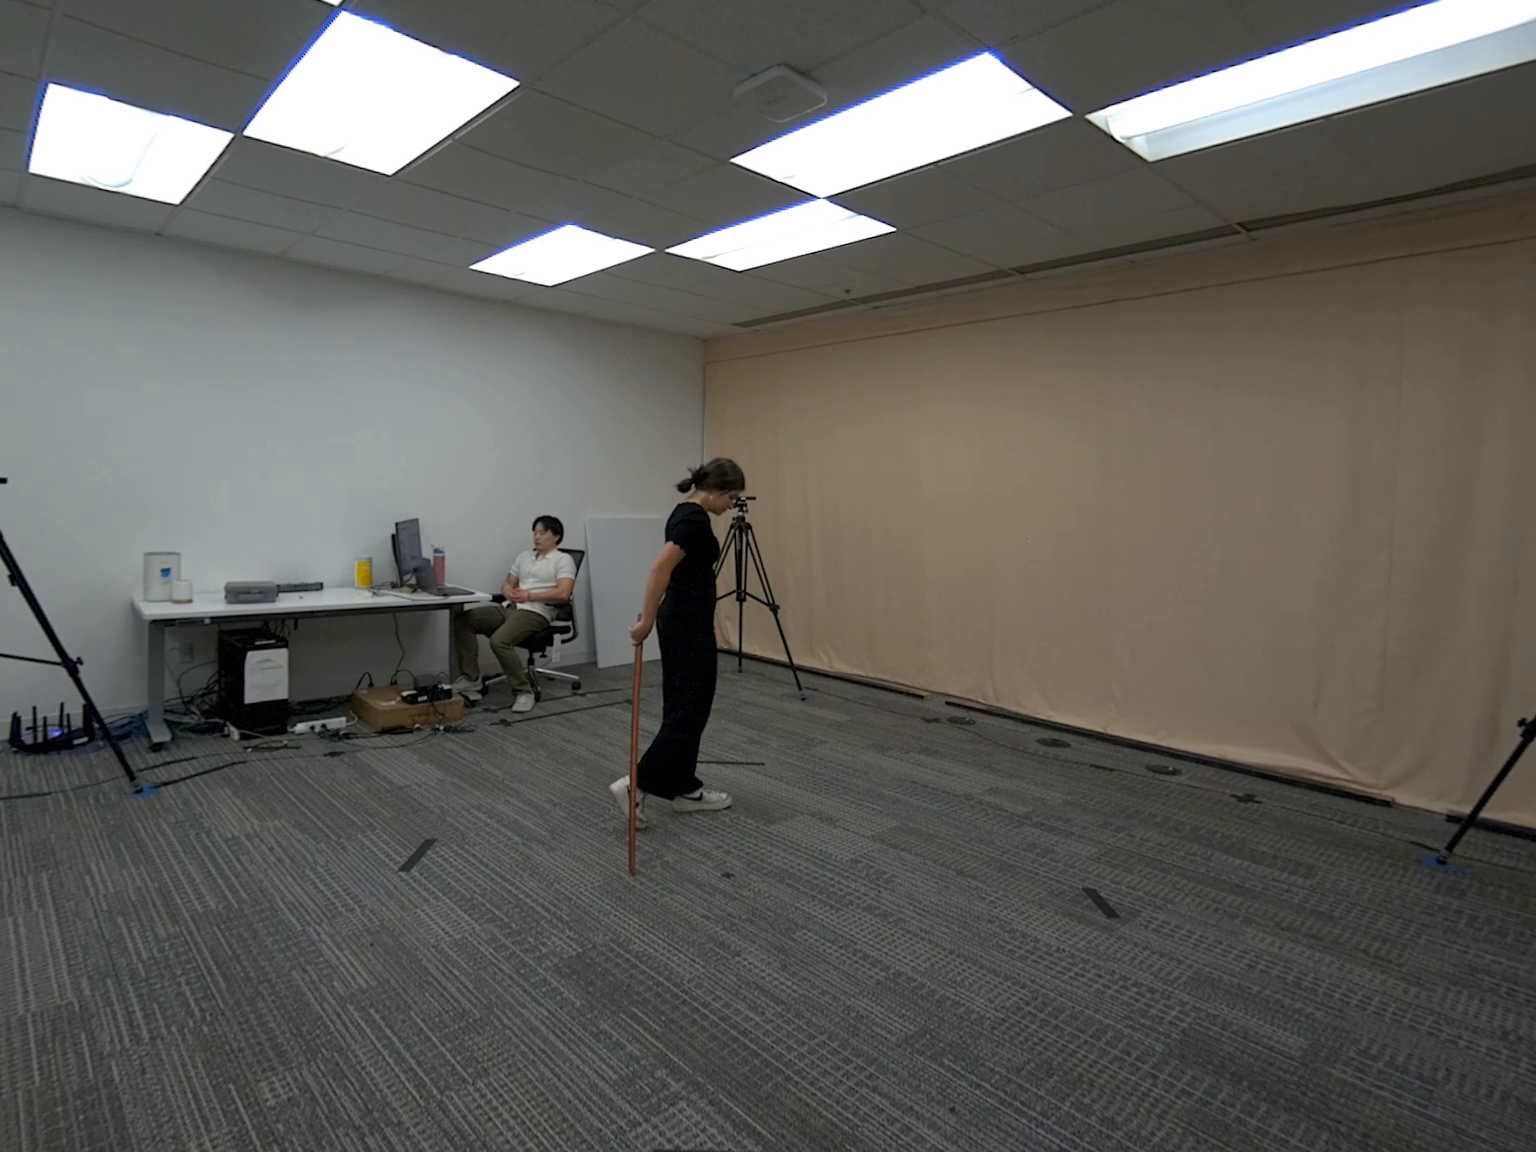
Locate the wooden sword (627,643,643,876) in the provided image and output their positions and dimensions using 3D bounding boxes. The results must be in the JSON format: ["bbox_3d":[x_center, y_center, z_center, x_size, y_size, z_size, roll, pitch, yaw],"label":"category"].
[{"bbox_3d":[-0.544,0.650,3.326,0.052,1.045,0.023,-14,-29,17],"label":"wooden sword"}]
